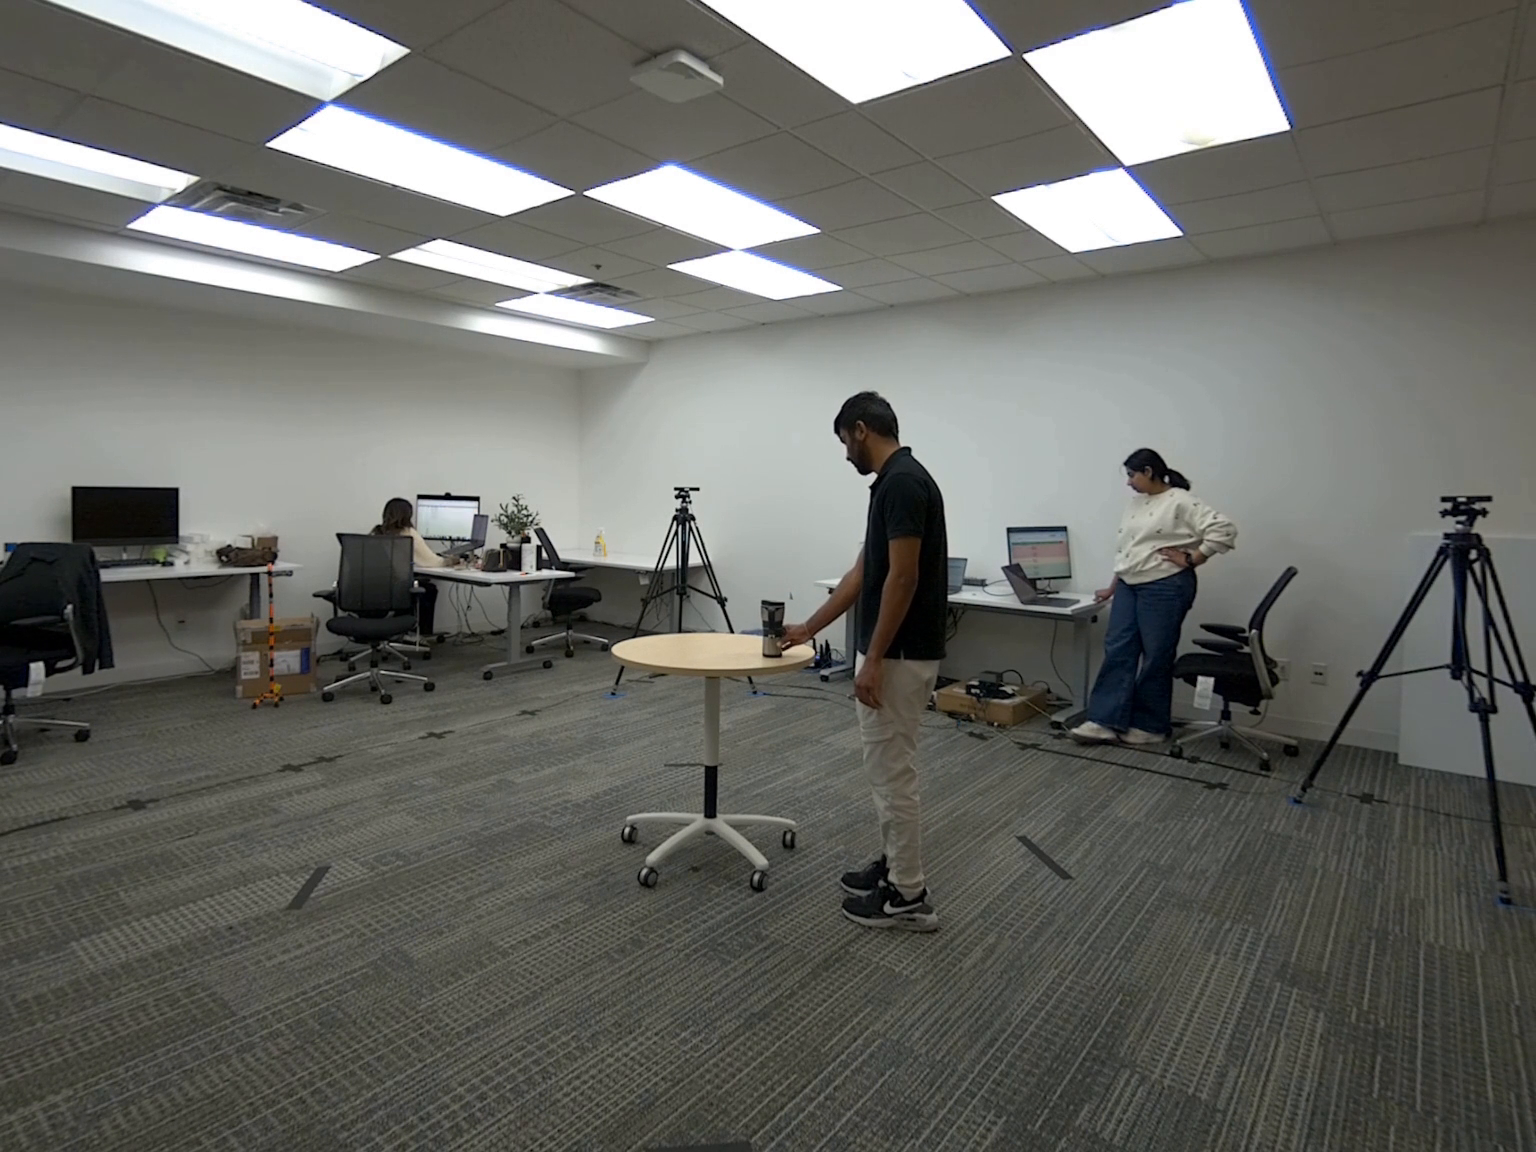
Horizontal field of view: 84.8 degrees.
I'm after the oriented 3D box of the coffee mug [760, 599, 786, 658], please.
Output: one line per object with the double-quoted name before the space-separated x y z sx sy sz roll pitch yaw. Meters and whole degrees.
"coffee mug" -0.005 0.189 3.061 0.090 0.203 0.118 5 2 32
